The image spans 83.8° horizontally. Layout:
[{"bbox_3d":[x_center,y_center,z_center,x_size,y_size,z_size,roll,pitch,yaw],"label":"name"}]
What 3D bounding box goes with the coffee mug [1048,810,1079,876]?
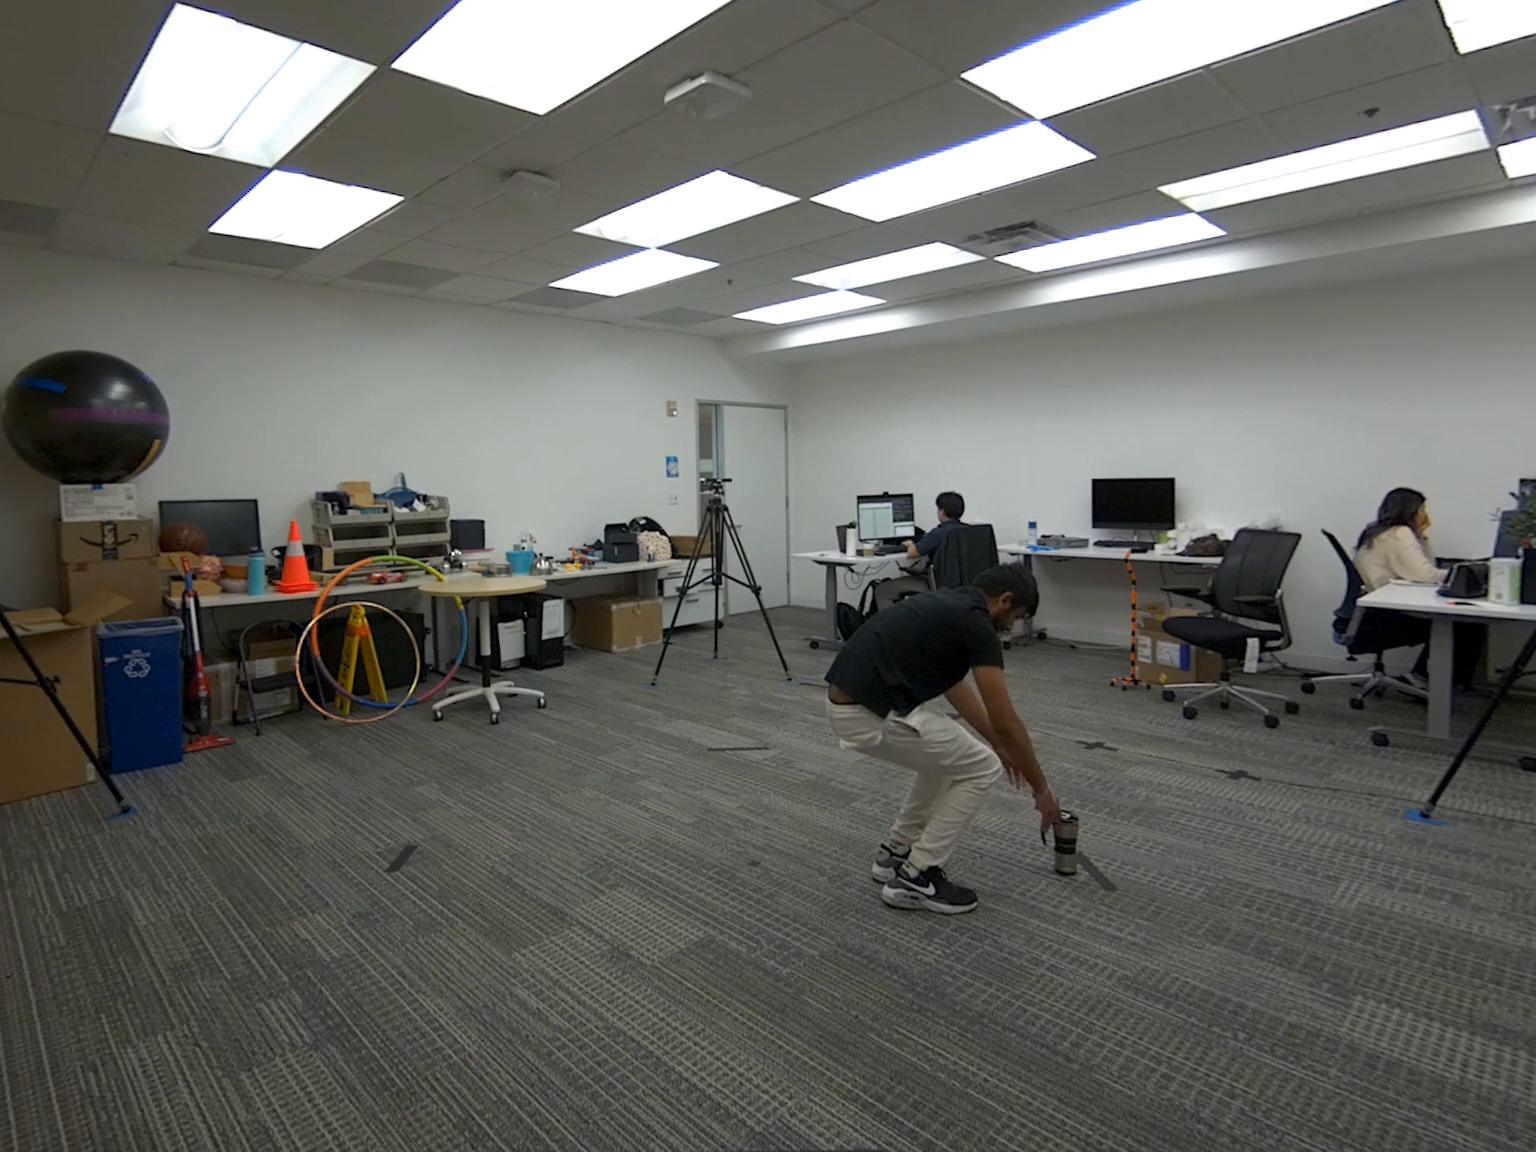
[{"bbox_3d":[1.026,0.933,3.002,0.126,0.201,0.086,7,12,41],"label":"coffee mug"}]
